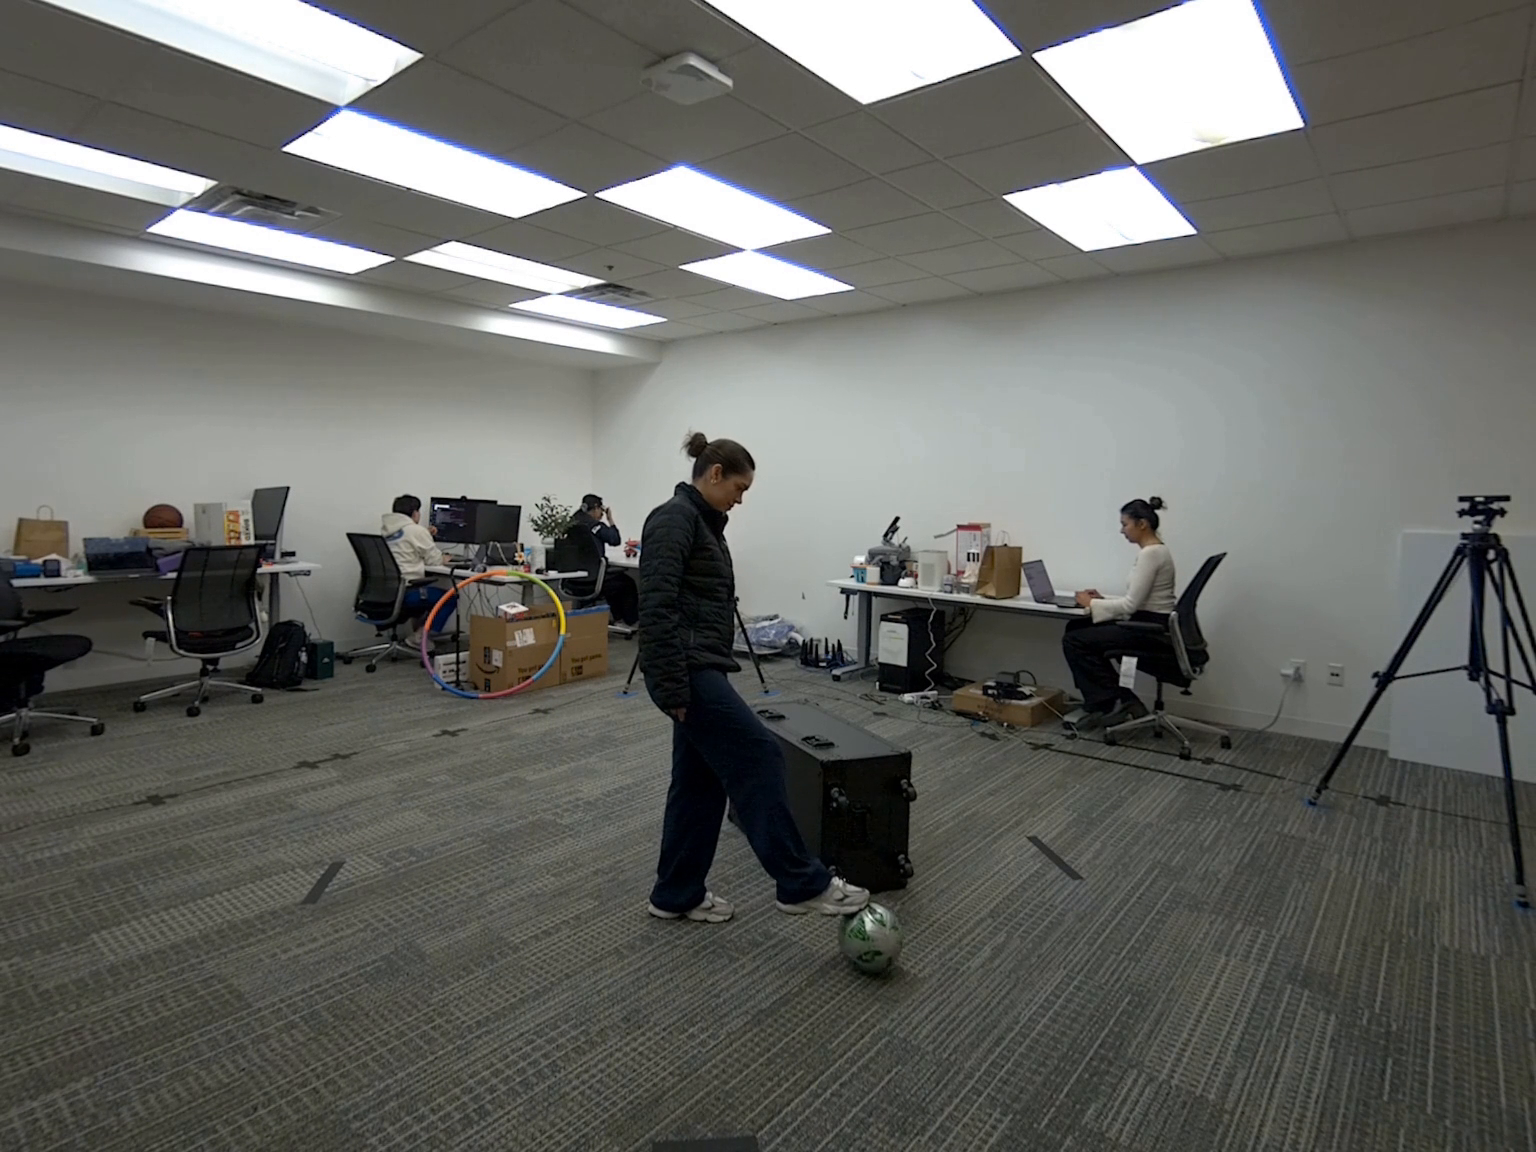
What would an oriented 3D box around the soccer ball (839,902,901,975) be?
[{"bbox_3d":[0.286,1.043,2.480,0.187,0.187,0.188,1,4,-2],"label":"soccer ball"}]
